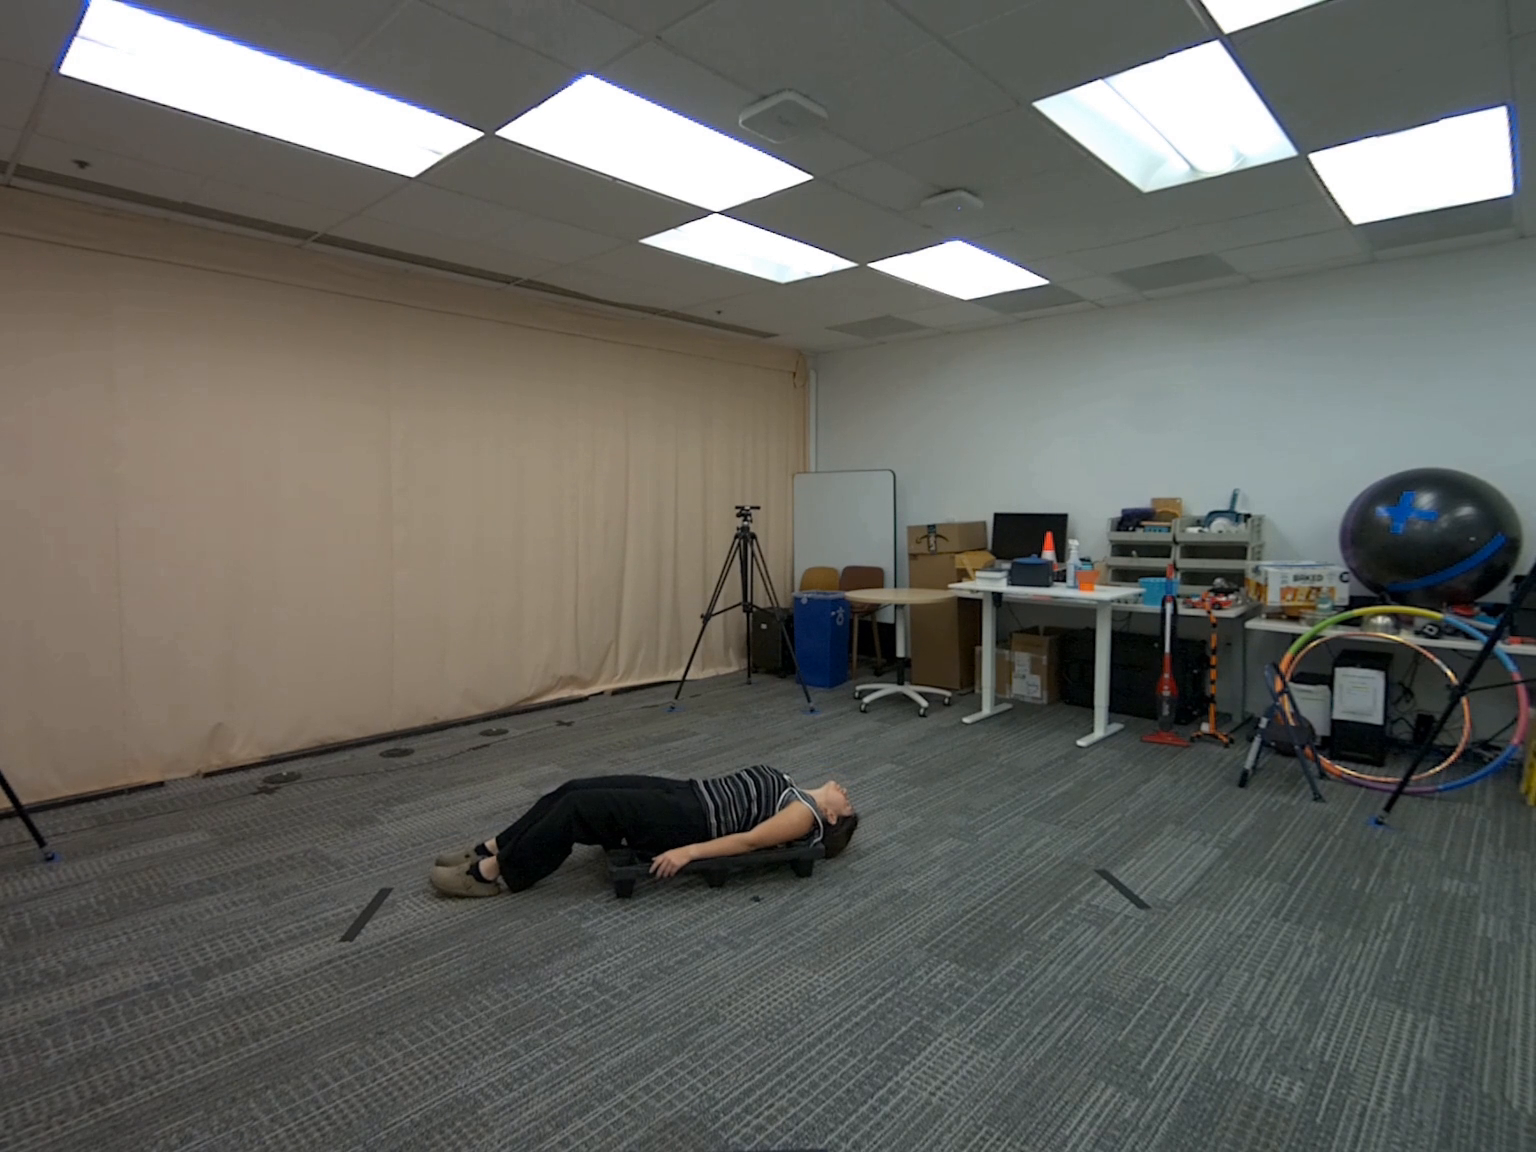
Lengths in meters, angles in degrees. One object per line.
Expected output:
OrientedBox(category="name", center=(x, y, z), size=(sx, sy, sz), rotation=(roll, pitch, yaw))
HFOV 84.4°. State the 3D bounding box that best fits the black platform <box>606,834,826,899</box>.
OrientedBox(category="black platform", center=(-0.263, 1.055, 3.303), size=(0.794, 0.143, 0.616), rotation=(-3, 6, -15))
